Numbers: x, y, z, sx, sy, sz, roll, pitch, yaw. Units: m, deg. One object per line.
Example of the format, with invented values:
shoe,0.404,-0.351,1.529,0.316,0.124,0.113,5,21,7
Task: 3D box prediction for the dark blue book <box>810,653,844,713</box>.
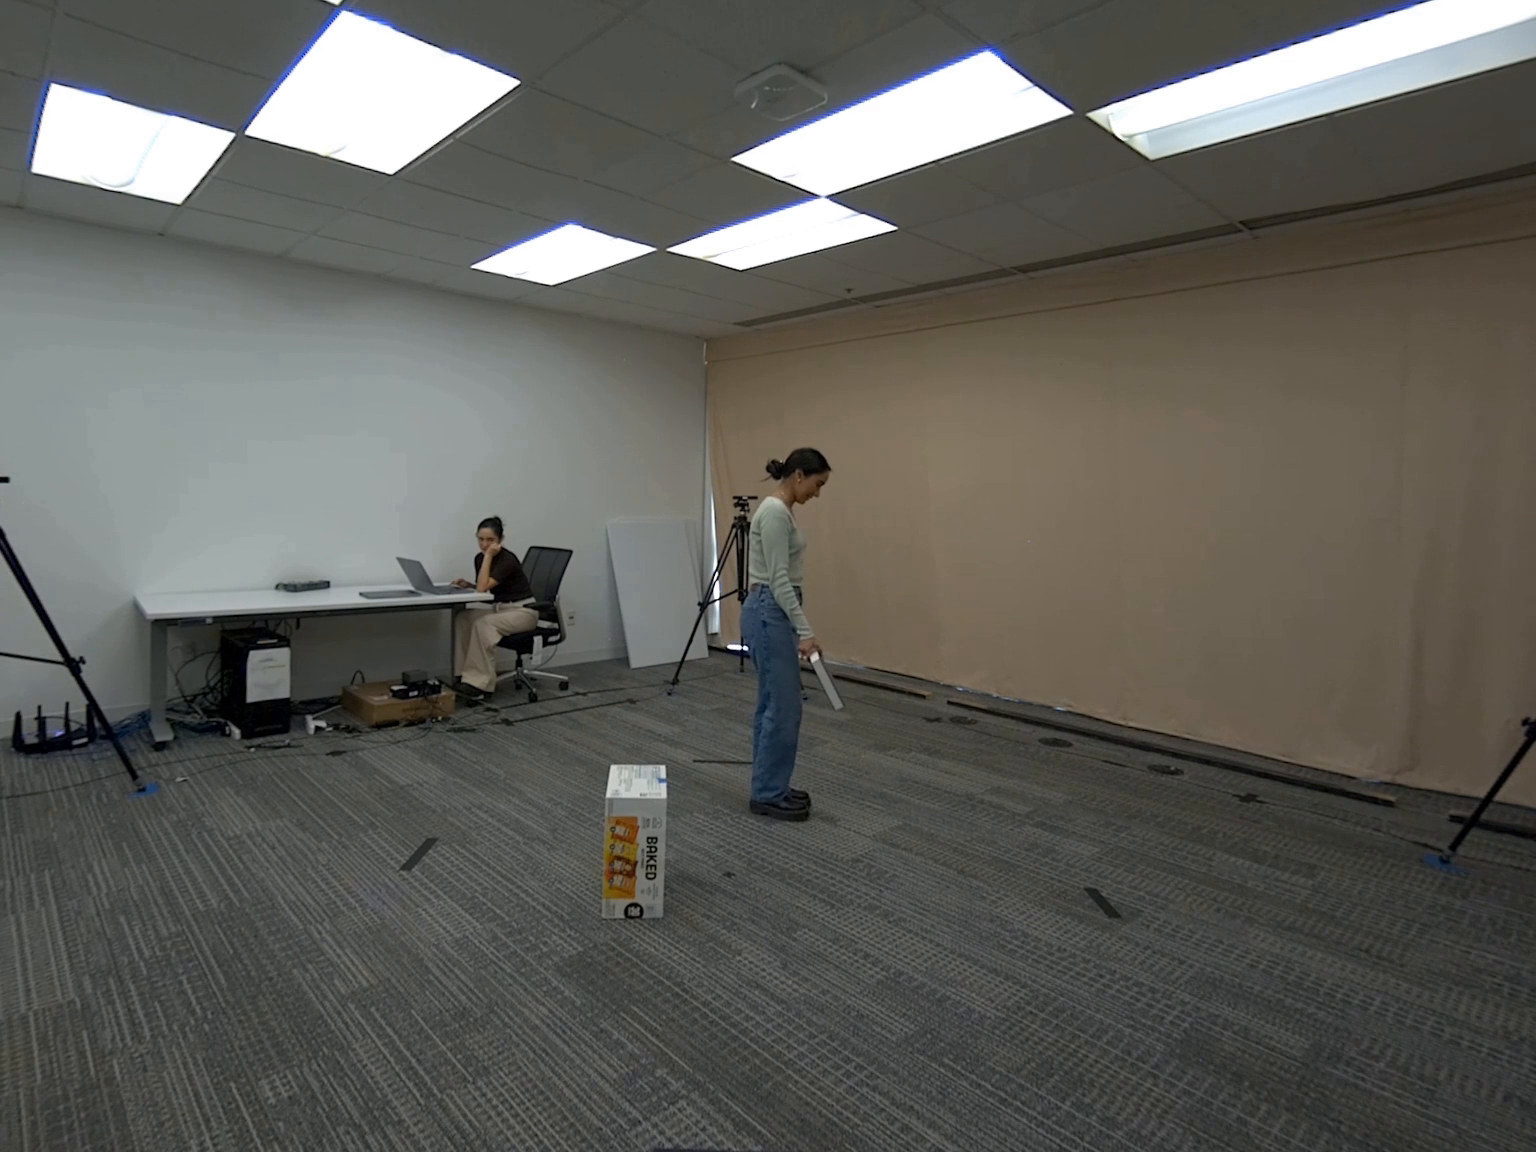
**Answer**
dark blue book,0.234,0.424,3.542,0.045,0.243,0.164,-23,8,-1
